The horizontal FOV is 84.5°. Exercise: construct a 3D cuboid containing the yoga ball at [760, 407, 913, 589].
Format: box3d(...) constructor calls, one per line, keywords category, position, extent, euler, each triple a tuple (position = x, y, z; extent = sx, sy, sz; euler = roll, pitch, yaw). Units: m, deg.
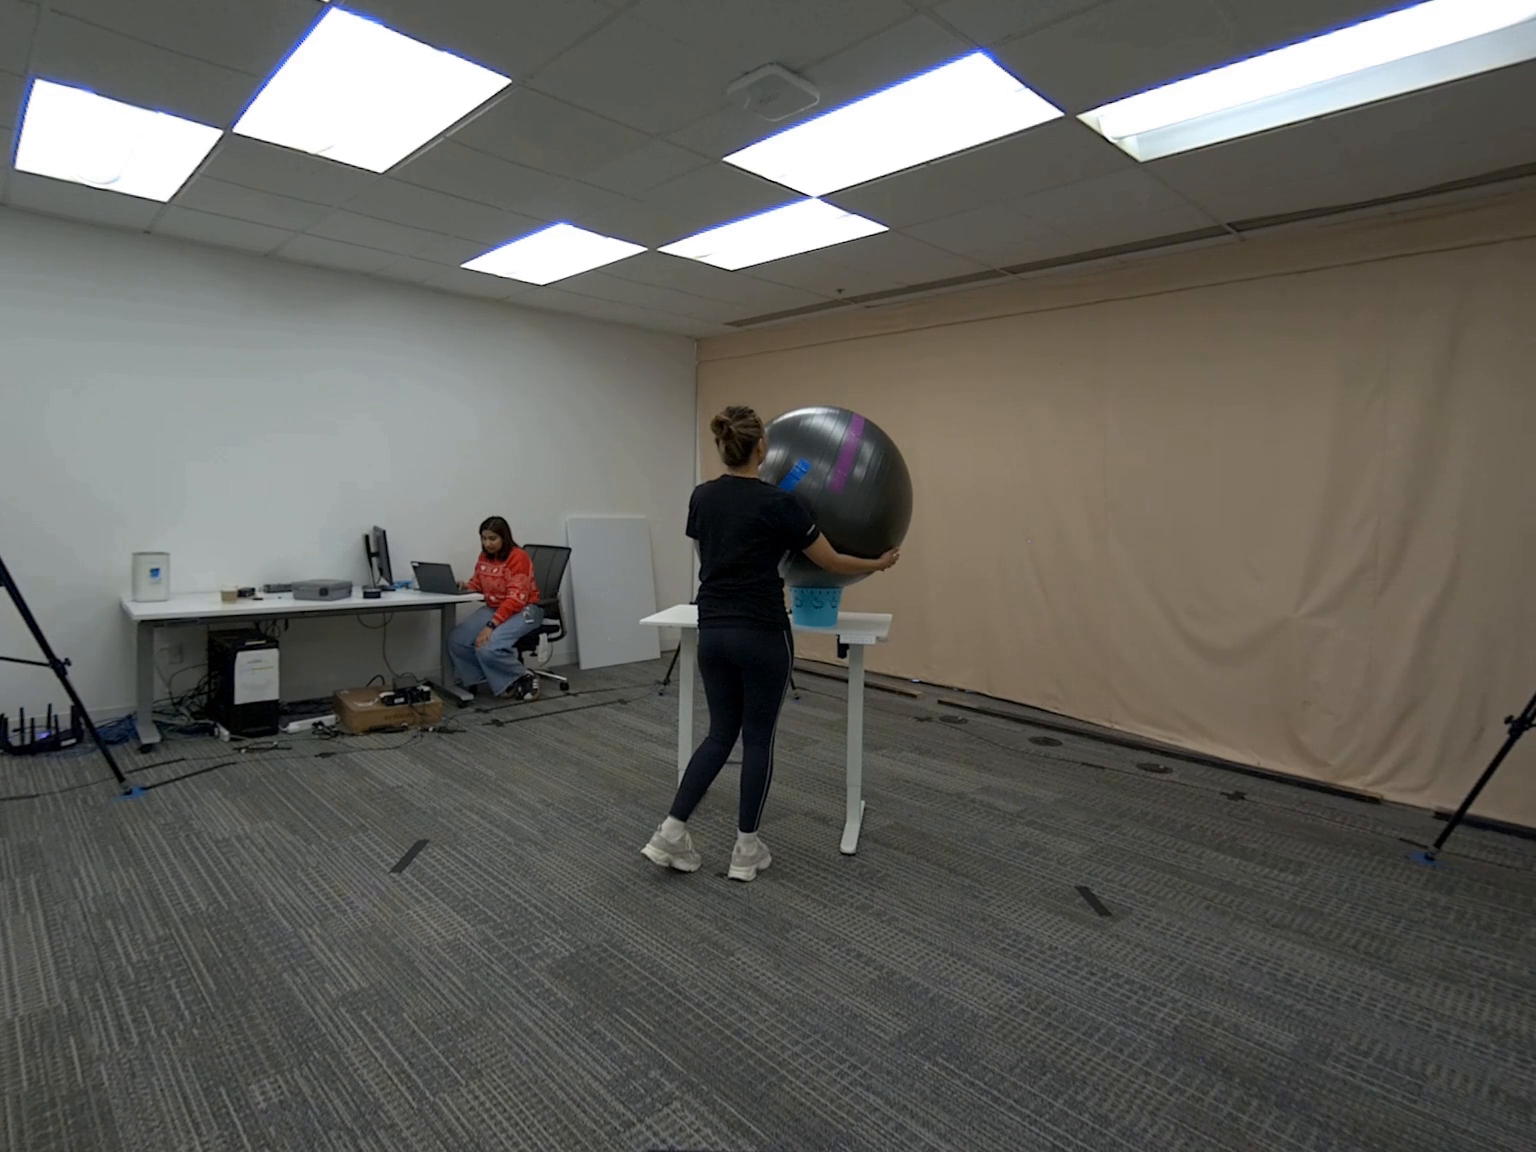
box3d(category="yoga ball", position=(0.207, -0.314, 3.465), extent=(0.757, 0.756, 0.761), euler=(1, 4, -1))
